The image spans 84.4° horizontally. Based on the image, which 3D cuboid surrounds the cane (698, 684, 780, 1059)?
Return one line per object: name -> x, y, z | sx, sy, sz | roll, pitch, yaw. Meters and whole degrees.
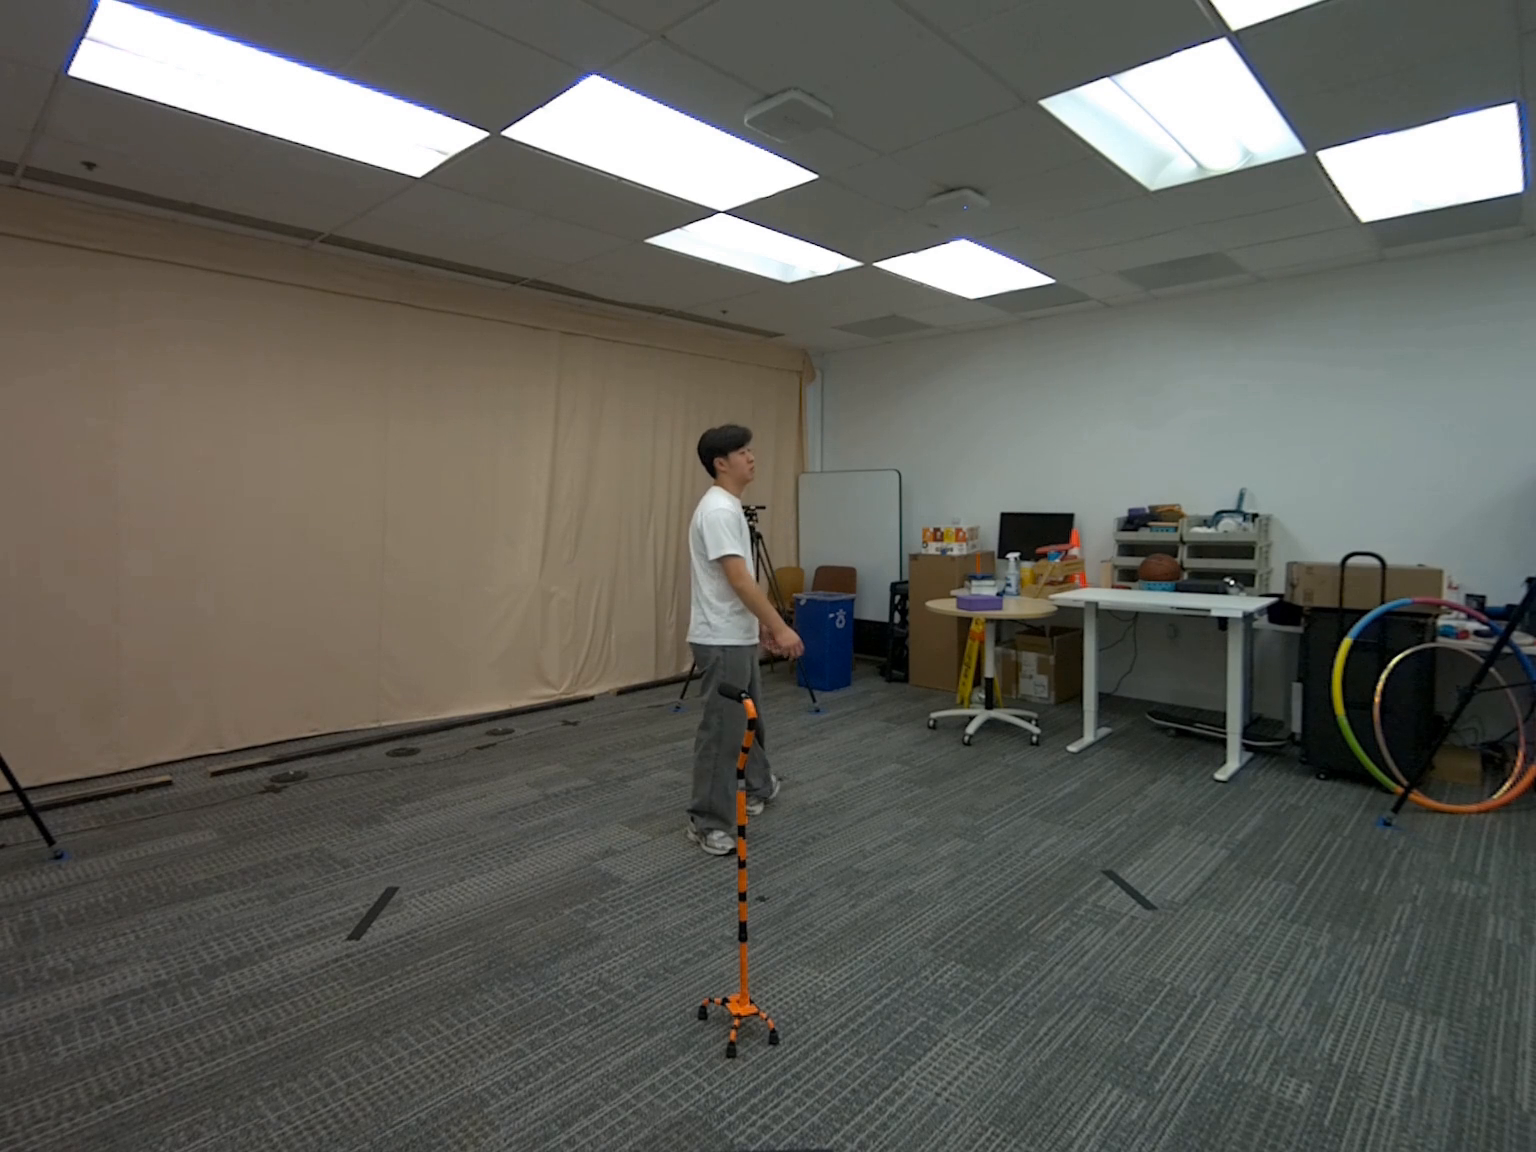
cane -> -0.085, 0.750, 2.214 | 0.148, 0.906, 0.212 | -2, 4, -29
